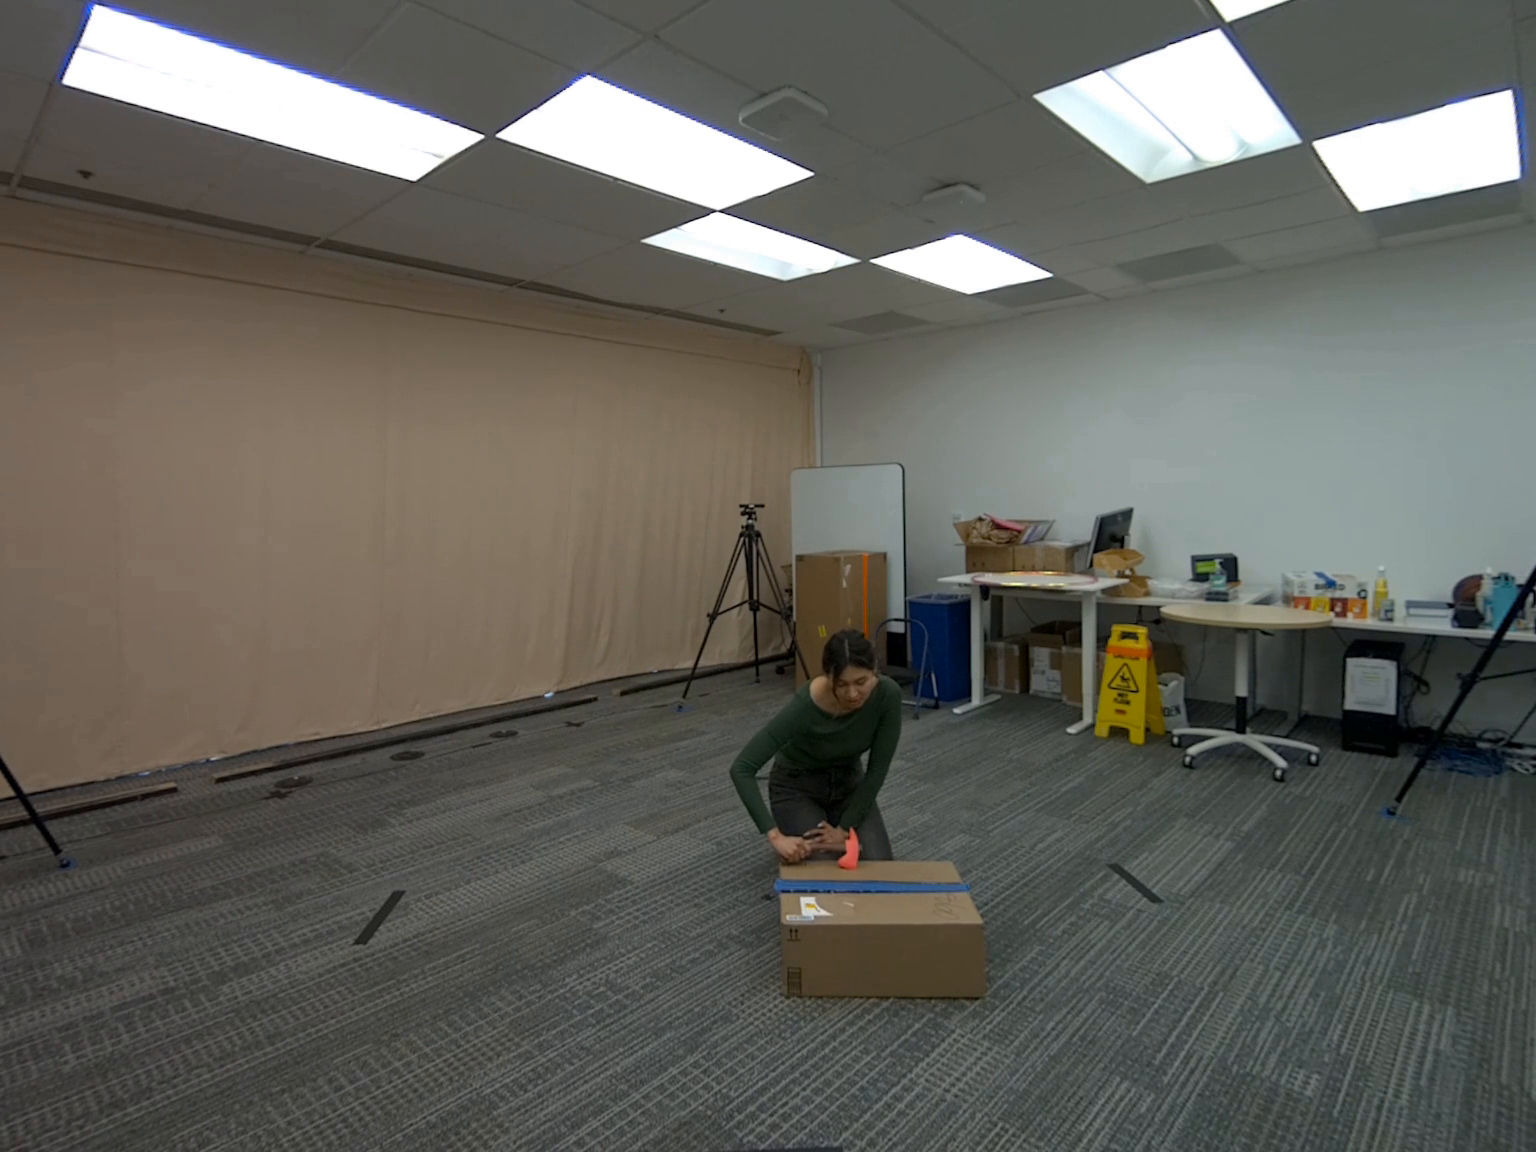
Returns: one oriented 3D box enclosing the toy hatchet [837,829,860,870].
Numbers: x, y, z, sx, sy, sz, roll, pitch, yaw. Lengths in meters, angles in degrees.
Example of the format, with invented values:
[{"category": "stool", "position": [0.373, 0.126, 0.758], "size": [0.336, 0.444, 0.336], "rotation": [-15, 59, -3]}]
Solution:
[{"category": "toy hatchet", "position": [0.178, 0.898, 2.728], "size": [0.269, 0.134, 0.029], "rotation": [-11, -37, -5]}]
